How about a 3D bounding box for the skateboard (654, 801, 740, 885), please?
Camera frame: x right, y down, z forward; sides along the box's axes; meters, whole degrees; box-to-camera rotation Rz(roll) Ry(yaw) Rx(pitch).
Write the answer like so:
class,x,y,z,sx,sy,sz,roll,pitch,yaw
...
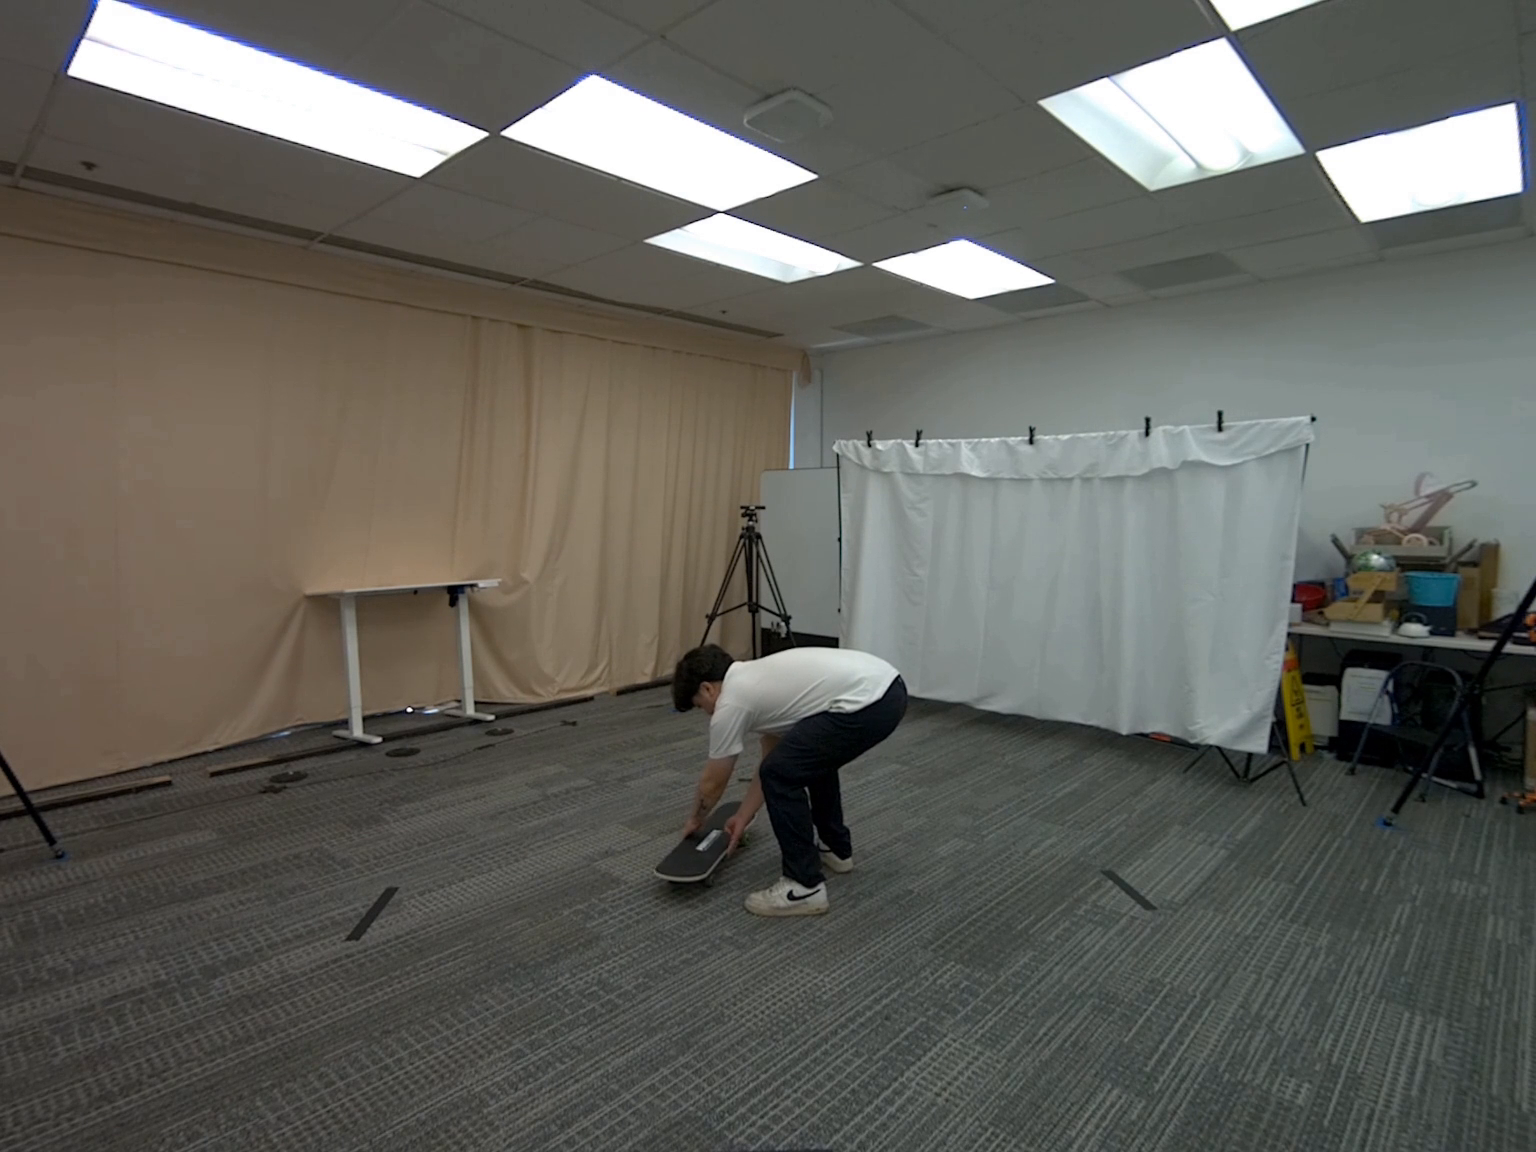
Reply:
class,x,y,z,sx,sy,sz,roll,pitch,yaw
skateboard,-0.229,1.058,3.288,0.197,0.110,0.772,1,5,17
